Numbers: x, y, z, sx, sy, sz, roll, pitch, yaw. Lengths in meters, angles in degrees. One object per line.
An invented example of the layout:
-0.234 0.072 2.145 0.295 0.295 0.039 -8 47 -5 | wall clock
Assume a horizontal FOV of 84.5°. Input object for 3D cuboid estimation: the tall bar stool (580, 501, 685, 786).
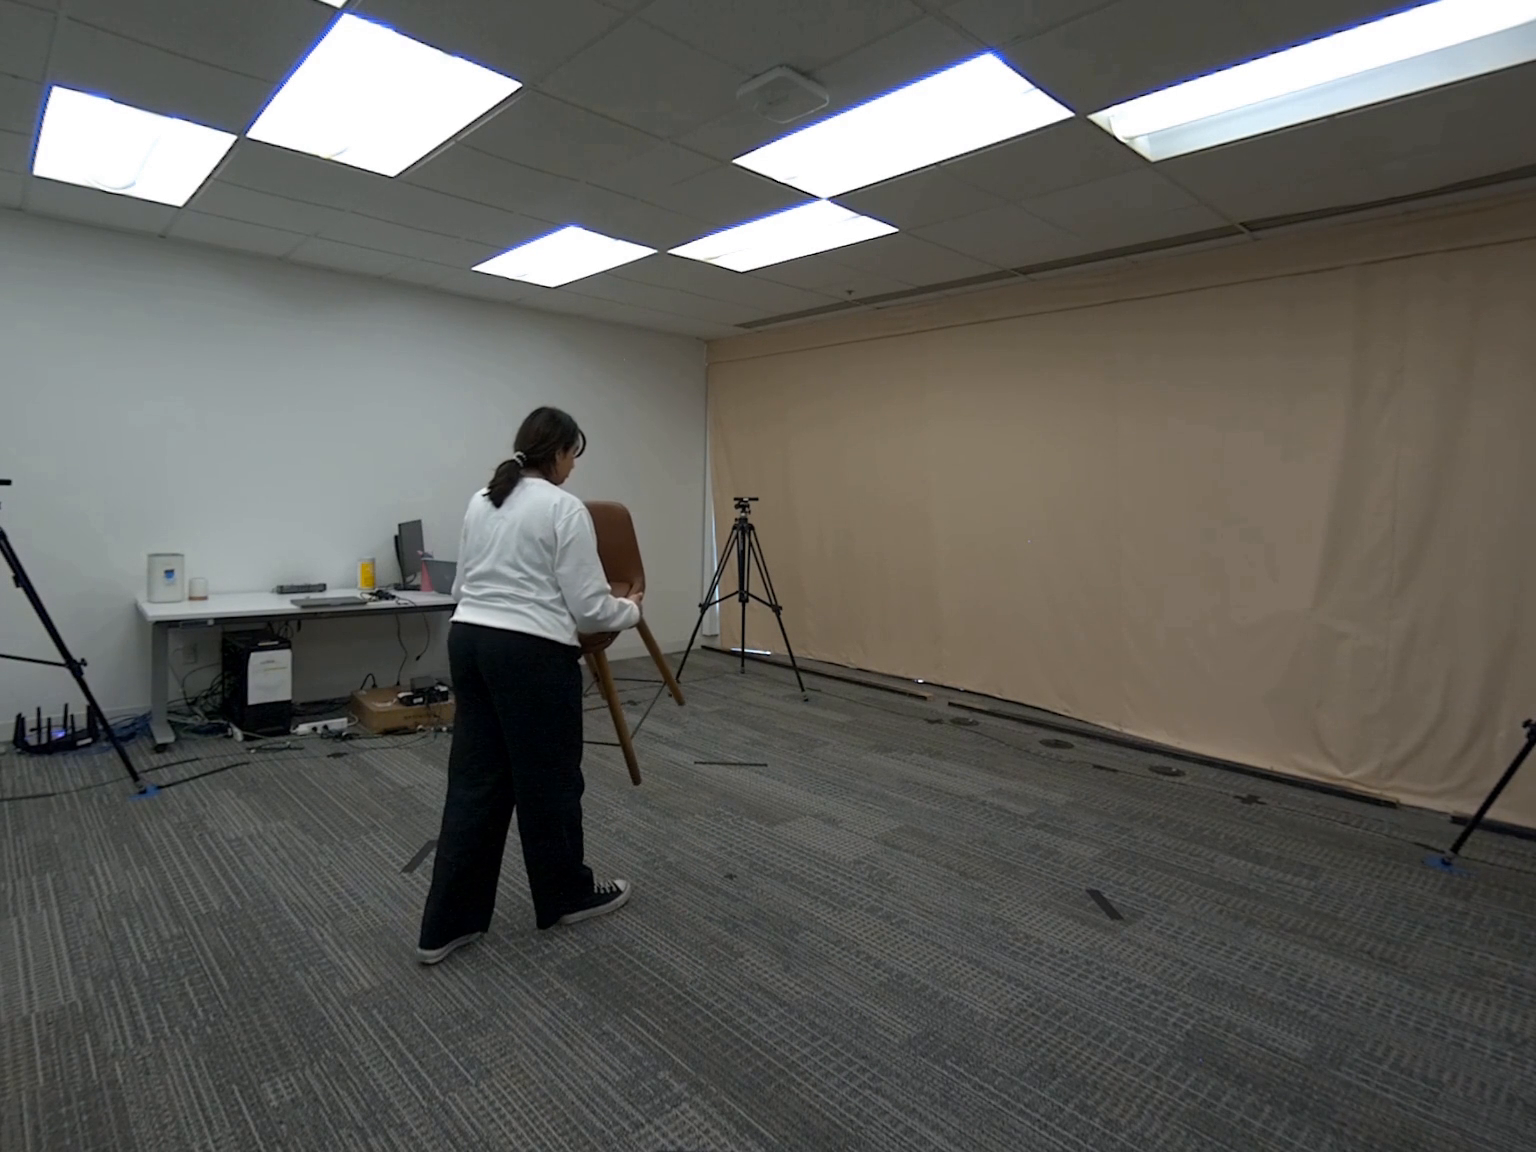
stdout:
-0.650 0.239 2.980 0.465 0.871 0.469 1 29 24 | tall bar stool
